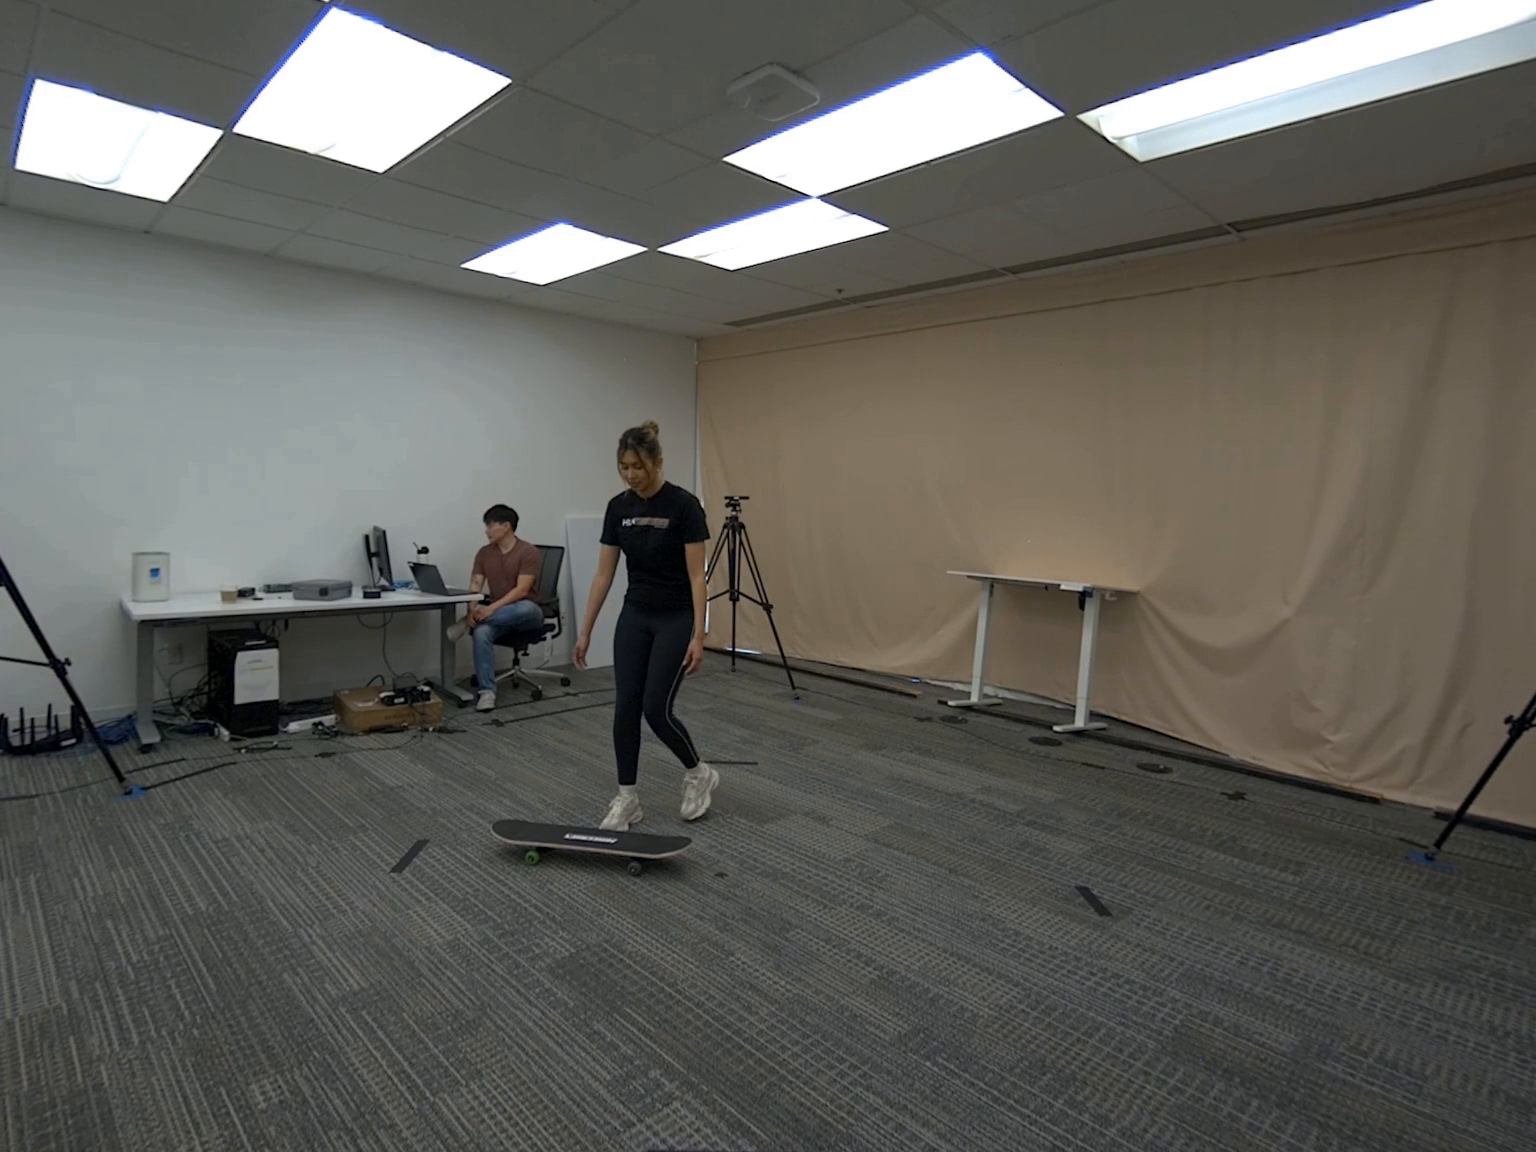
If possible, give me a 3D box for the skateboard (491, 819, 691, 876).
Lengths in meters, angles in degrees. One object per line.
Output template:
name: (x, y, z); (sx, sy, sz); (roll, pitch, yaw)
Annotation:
skateboard: (-0.683, 1.026, 3.192); (0.792, 0.110, 0.192); (2, 5, 10)
